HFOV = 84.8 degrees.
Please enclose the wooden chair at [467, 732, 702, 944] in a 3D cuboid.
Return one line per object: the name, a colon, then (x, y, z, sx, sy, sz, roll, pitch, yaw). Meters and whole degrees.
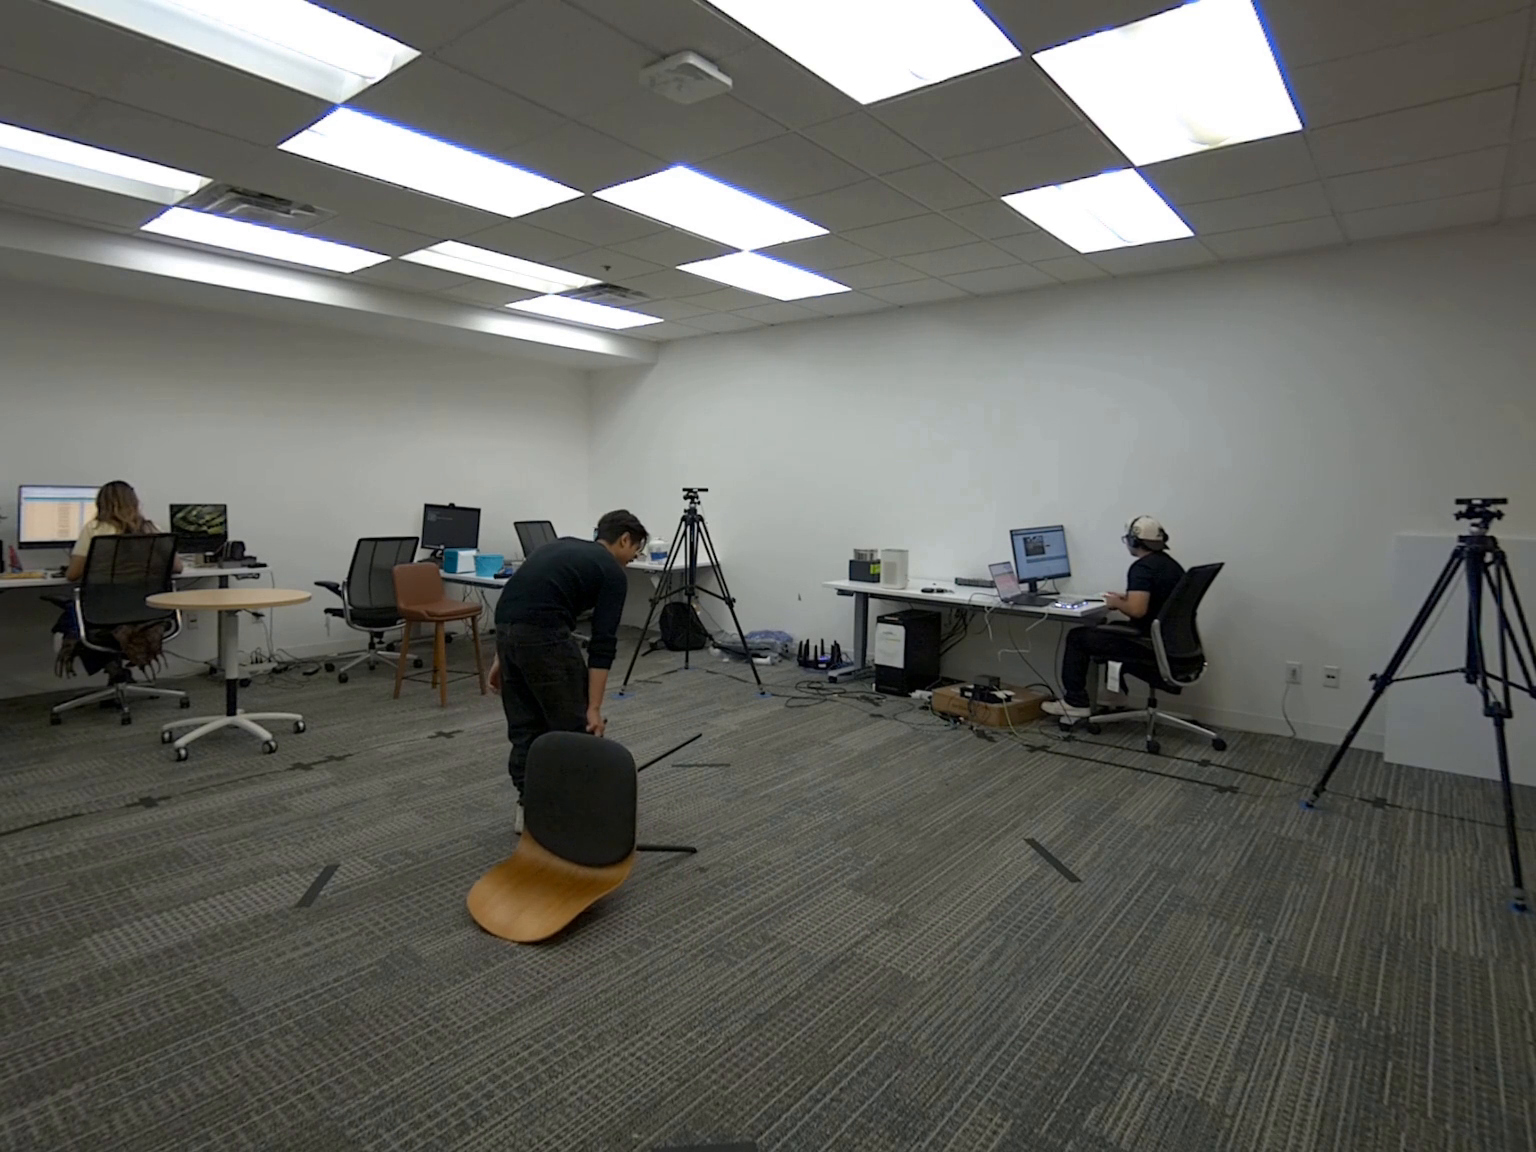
wooden chair: (-0.646, 0.819, 2.976, 0.491, 0.520, 0.859, 3, 7, 24)
